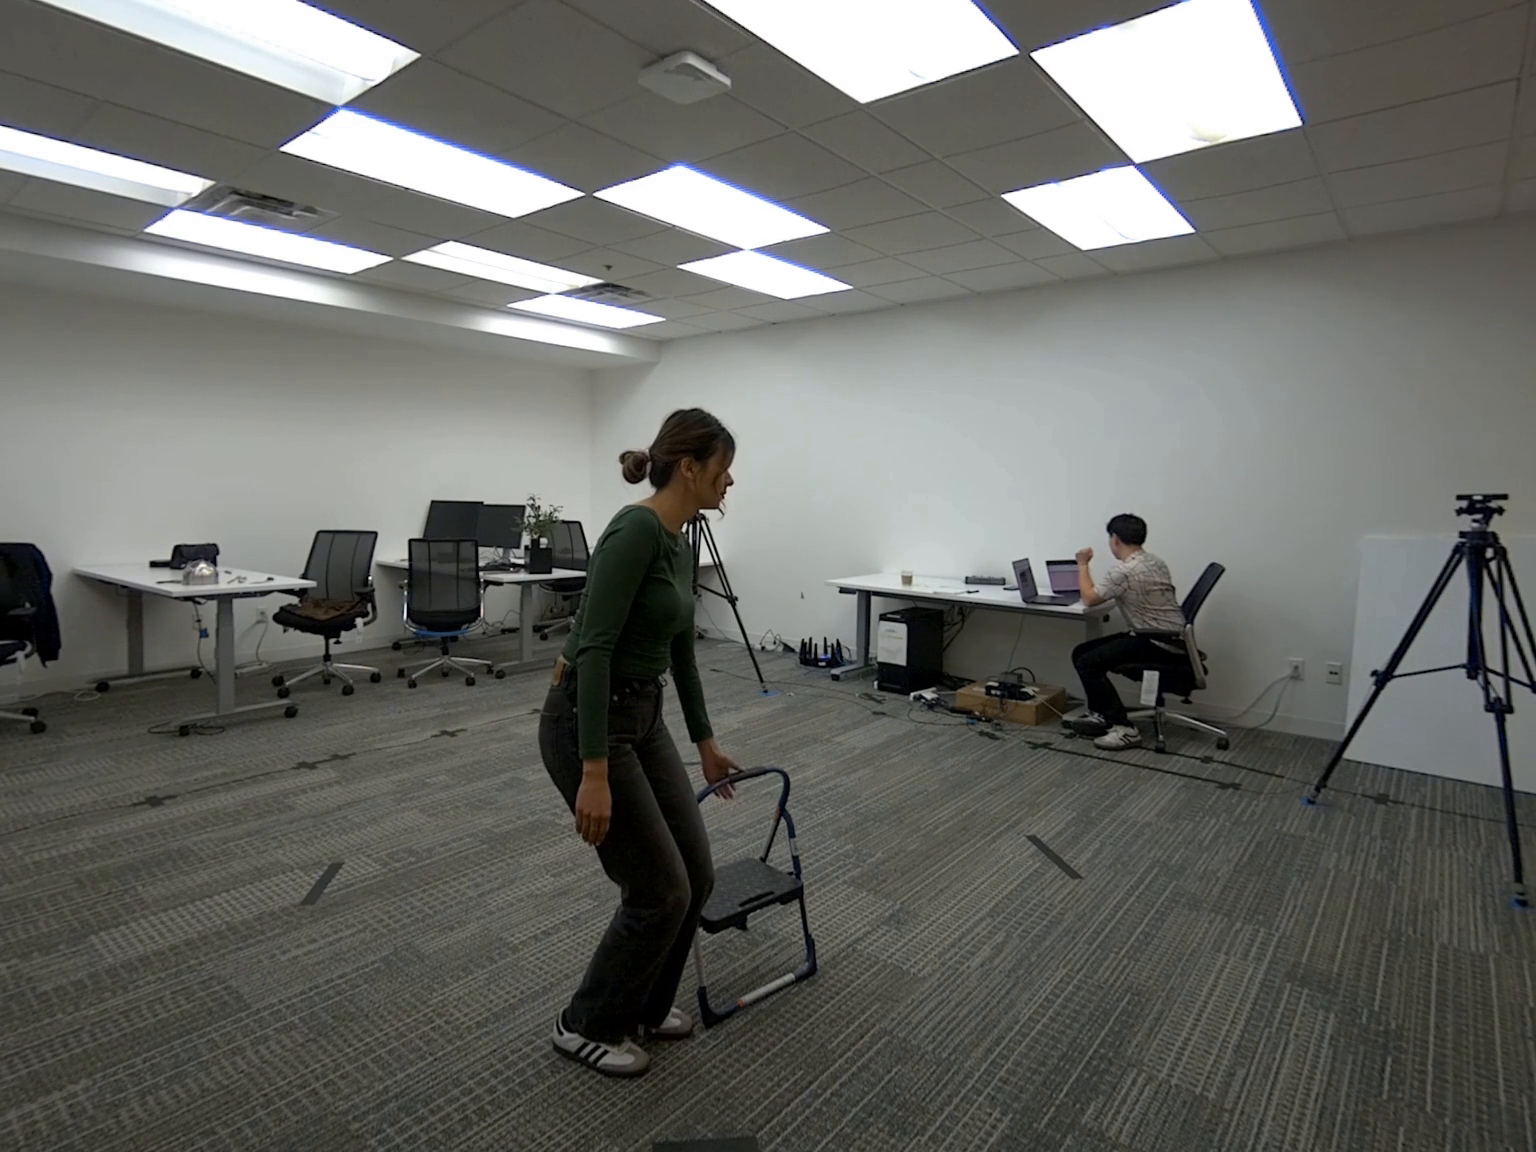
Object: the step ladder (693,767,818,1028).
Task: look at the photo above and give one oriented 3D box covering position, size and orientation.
[{"bbox_3d":[-0.125,0.834,2.430,0.418,0.604,0.361,-3,5,-42],"label":"step ladder"}]
